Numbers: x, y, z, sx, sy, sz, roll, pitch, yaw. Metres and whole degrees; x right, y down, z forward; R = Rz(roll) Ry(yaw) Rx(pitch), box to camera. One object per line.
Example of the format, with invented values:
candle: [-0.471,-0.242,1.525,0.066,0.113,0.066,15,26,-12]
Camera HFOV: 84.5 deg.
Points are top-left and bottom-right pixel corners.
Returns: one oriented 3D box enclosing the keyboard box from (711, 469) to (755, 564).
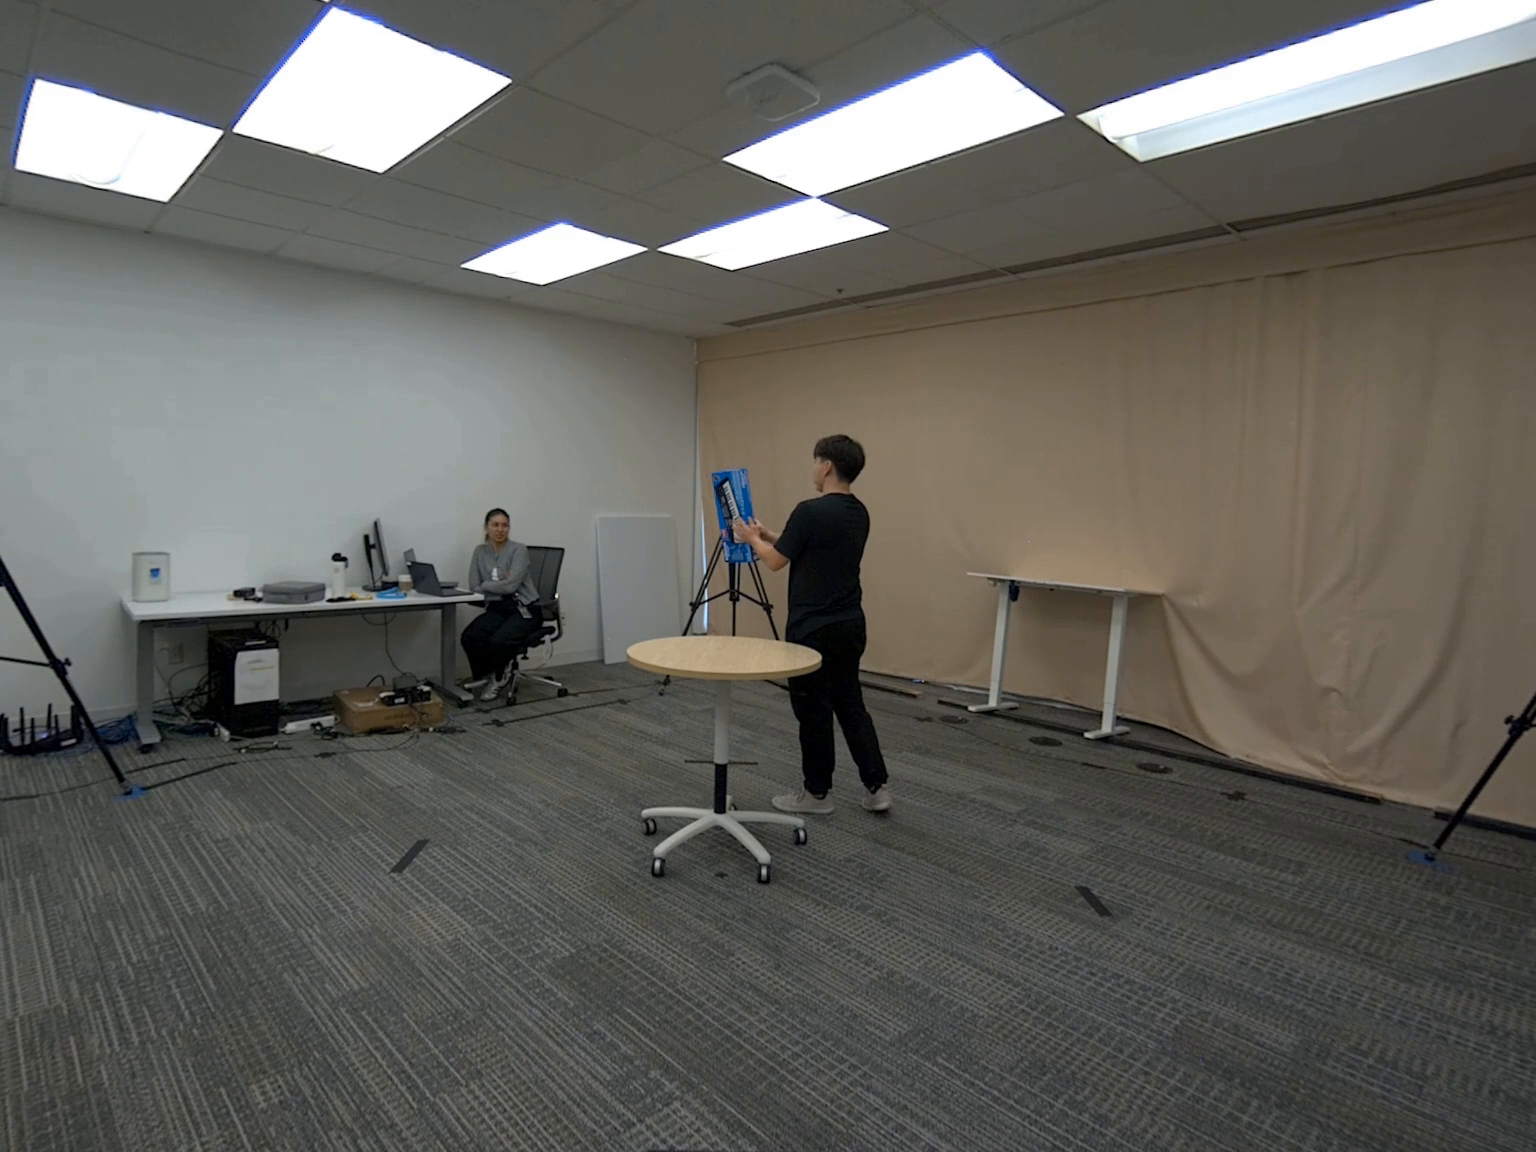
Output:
keyboard box: [-0.156,-0.282,3.979,0.180,0.434,0.058,-1,10,39]
